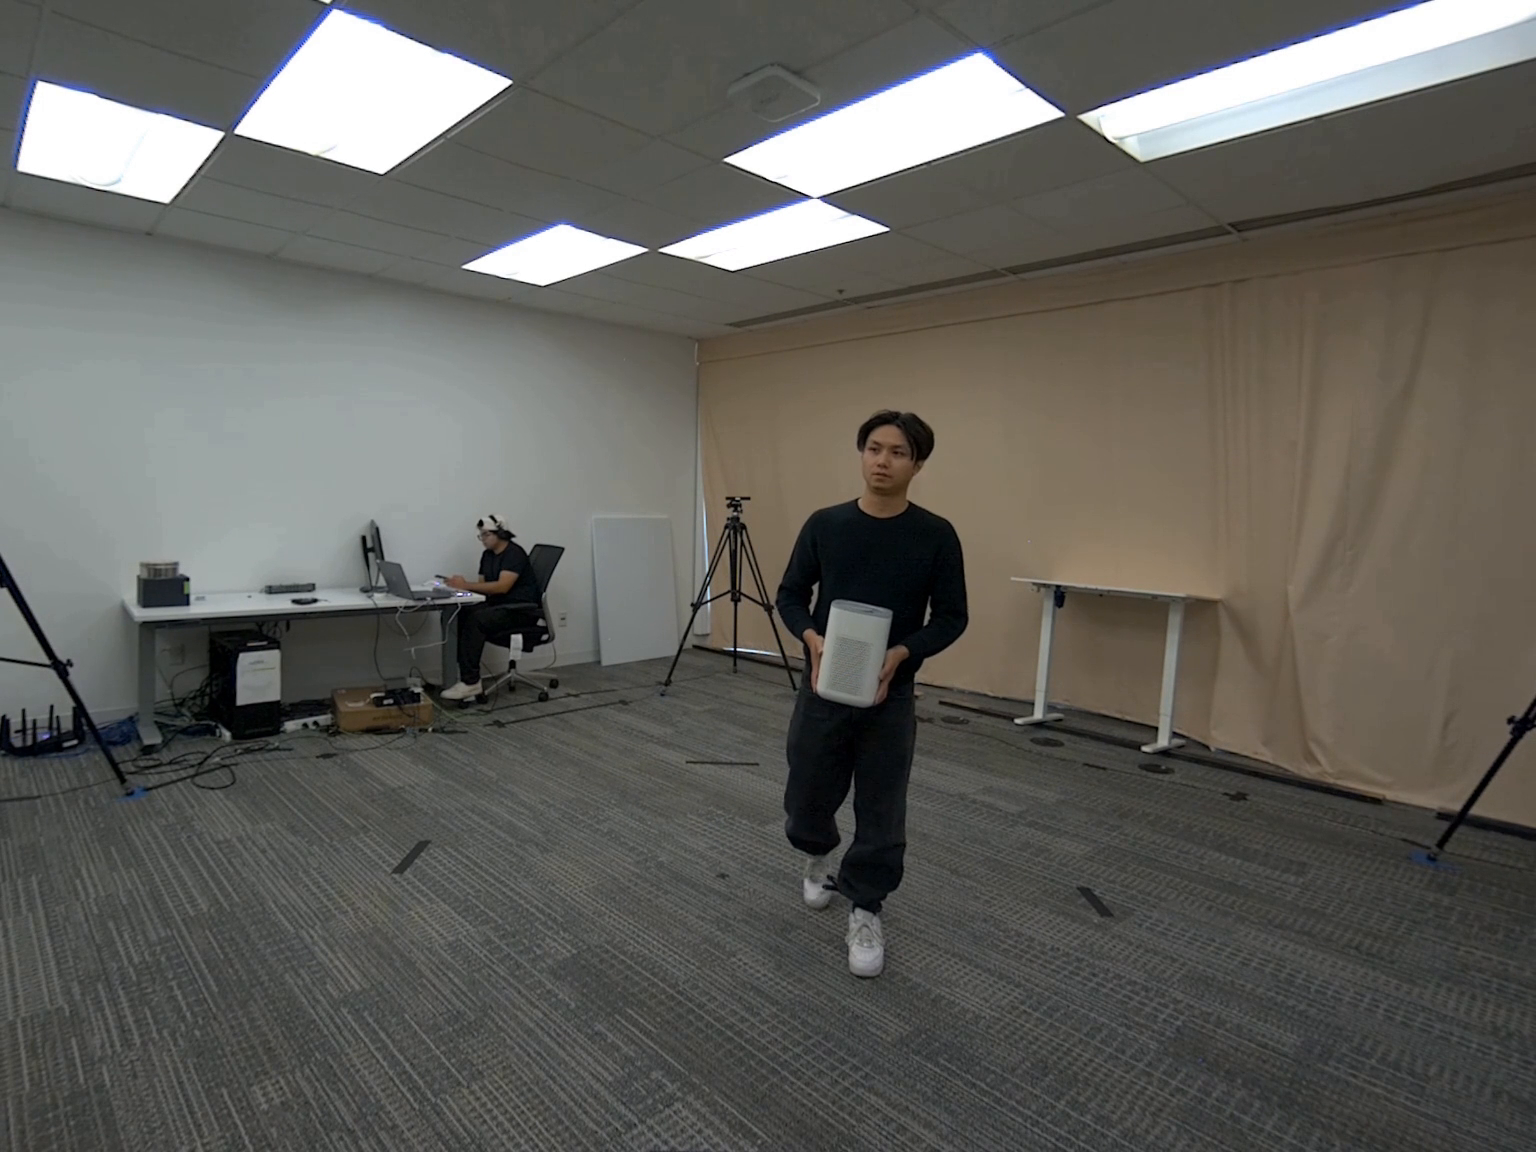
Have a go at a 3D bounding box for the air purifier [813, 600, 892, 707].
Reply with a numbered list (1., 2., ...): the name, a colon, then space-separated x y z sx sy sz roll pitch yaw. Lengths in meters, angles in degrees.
1. air purifier: 0.227 0.221 2.357 0.174 0.264 0.169 11 6 18
